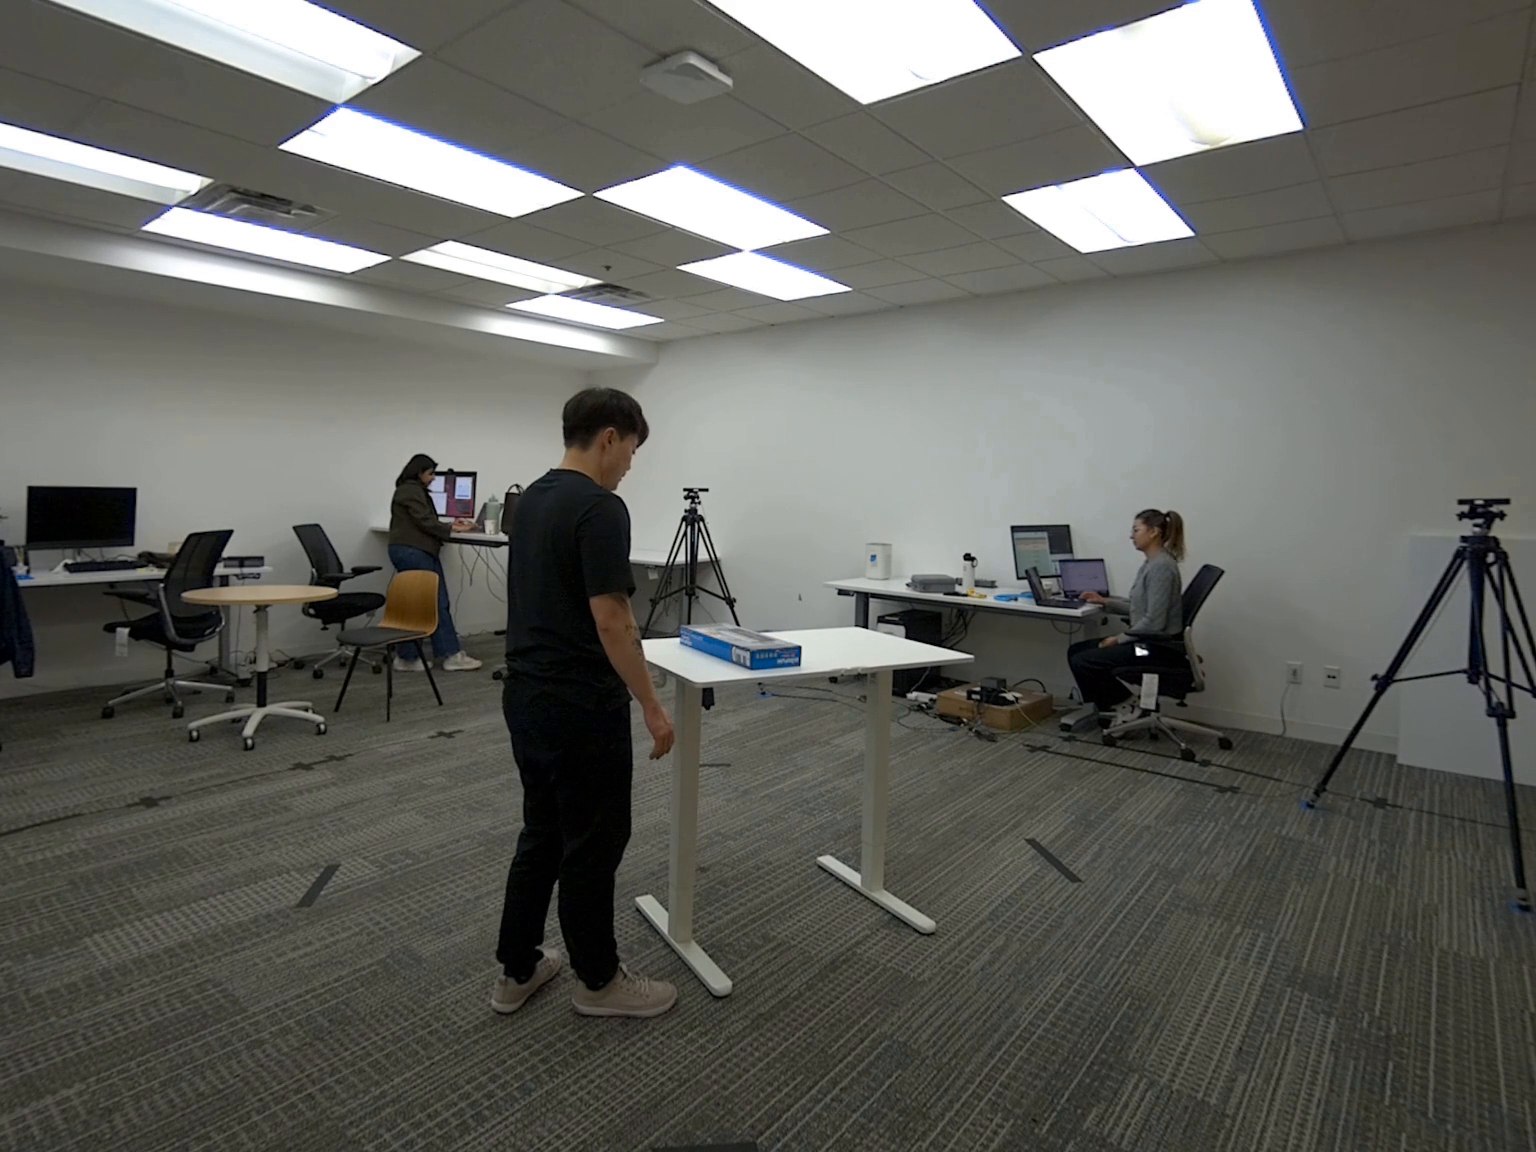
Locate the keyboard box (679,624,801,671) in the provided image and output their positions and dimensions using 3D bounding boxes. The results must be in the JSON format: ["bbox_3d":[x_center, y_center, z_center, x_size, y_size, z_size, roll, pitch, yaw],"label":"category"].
[{"bbox_3d":[-0.104,0.210,2.601,0.171,0.059,0.451,-1,7,-32],"label":"keyboard box"}]
